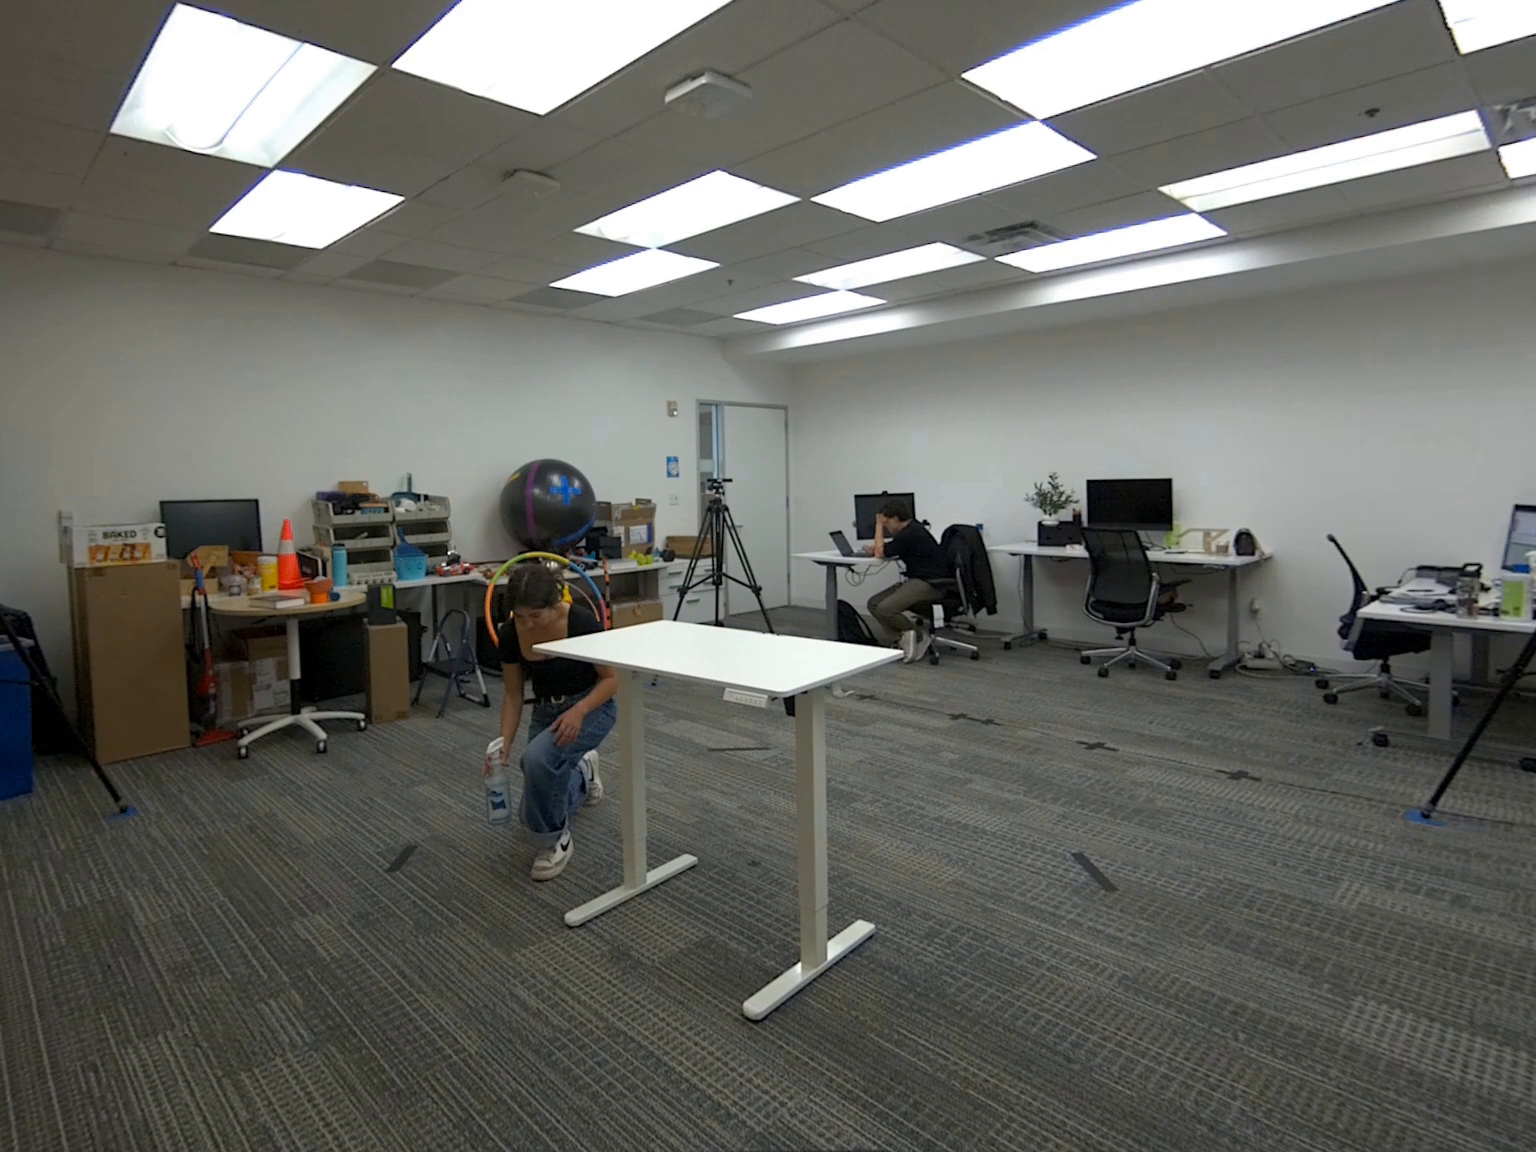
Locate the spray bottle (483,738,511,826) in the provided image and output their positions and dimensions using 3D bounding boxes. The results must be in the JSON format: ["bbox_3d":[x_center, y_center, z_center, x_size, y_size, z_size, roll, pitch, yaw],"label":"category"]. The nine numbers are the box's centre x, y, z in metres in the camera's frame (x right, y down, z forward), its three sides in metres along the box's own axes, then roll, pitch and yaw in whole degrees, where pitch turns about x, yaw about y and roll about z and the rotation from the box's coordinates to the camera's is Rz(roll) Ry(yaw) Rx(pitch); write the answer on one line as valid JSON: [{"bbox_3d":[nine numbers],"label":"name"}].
[{"bbox_3d":[-0.971,0.739,3.061,0.090,0.295,0.088,6,10,43],"label":"spray bottle"}]
